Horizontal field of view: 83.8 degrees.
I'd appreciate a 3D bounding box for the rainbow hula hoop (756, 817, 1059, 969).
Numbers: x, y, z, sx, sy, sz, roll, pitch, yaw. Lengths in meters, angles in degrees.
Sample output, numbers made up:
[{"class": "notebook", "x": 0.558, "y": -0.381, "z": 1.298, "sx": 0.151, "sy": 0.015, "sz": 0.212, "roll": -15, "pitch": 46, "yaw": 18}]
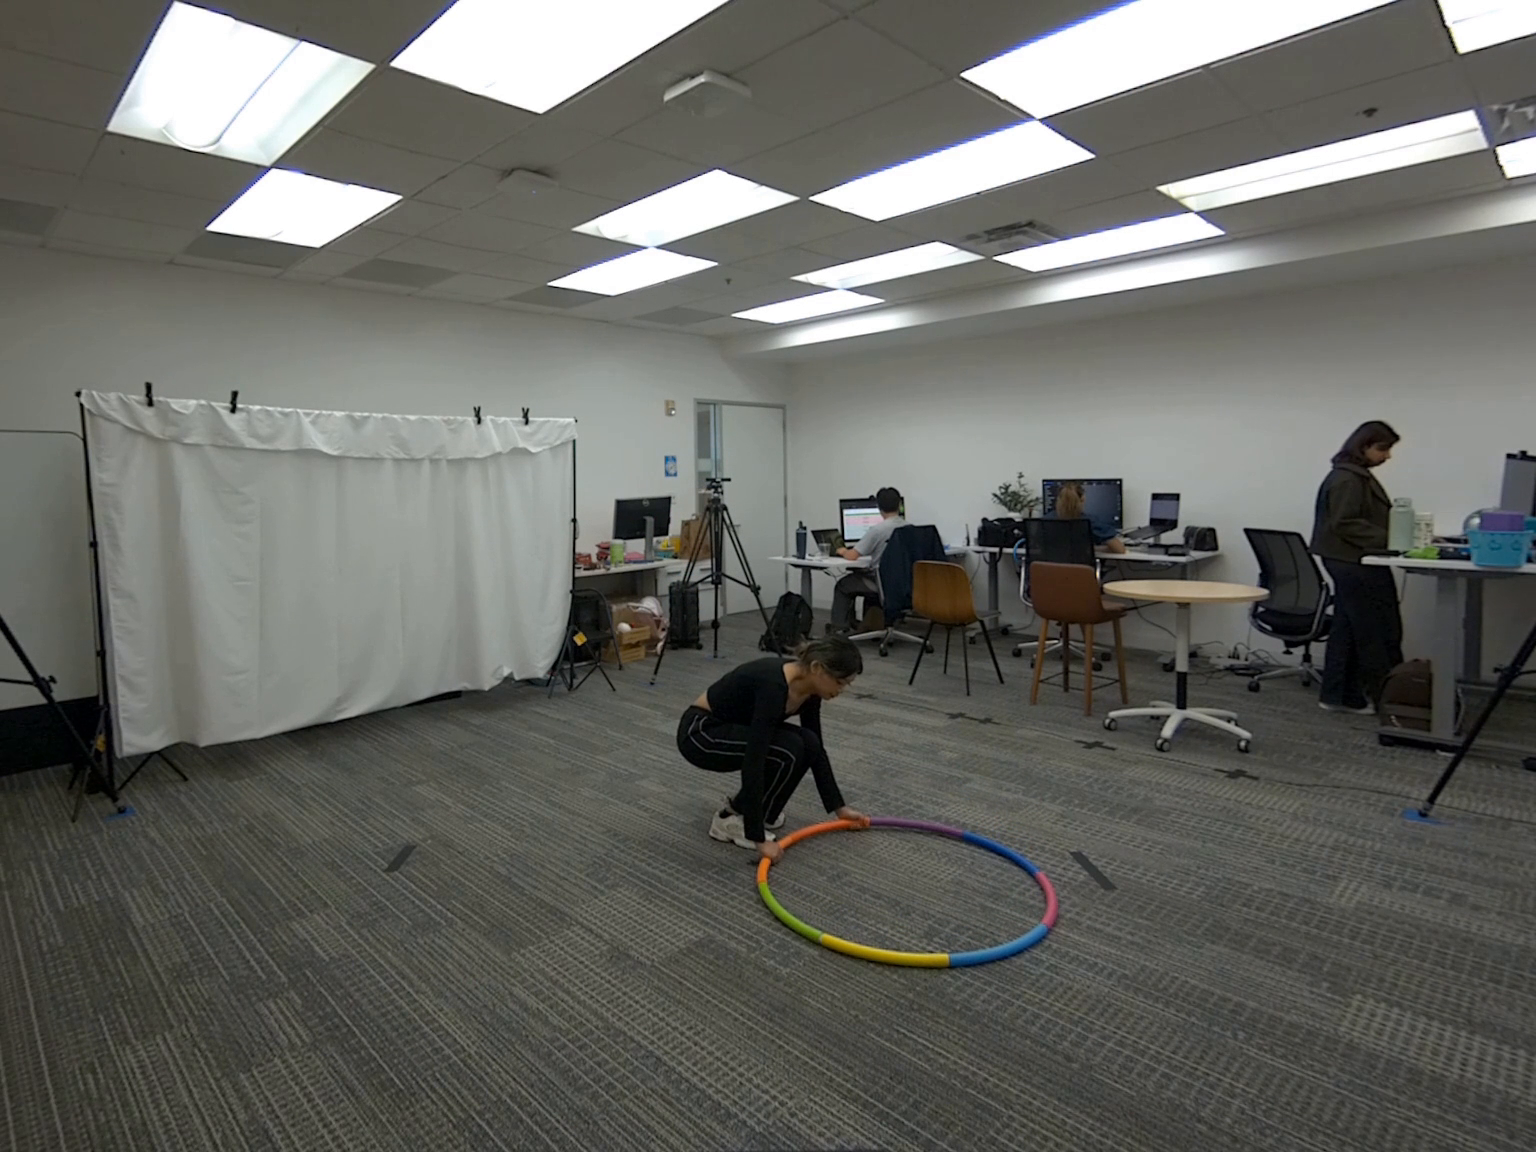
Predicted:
[{"class": "rainbow hula hoop", "x": 0.454, "y": 1.023, "z": 2.902, "sx": 0.978, "sy": 0.035, "sz": 0.985, "roll": -1, "pitch": 7, "yaw": -2}]
